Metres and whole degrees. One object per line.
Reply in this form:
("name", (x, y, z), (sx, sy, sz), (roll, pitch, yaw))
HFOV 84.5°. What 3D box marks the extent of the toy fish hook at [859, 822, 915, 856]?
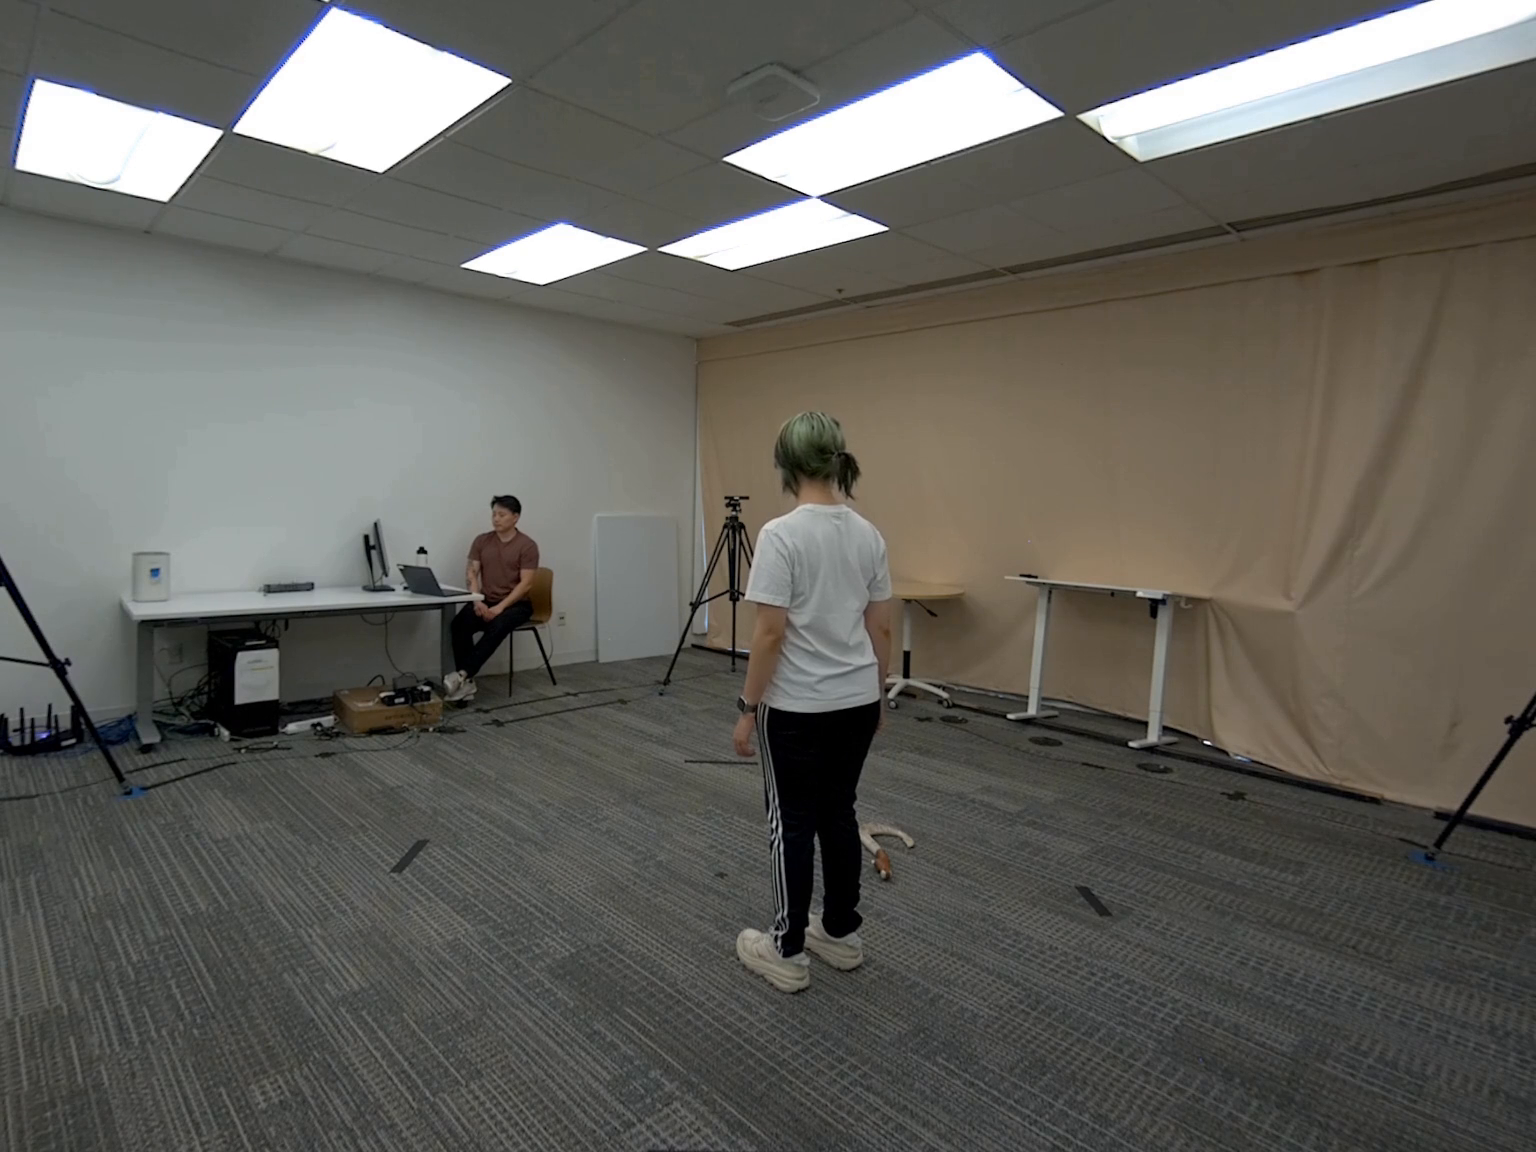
("toy fish hook", (0.475, 1.077, 3.318), (0.225, 0.048, 0.508), (1, 5, 0))
